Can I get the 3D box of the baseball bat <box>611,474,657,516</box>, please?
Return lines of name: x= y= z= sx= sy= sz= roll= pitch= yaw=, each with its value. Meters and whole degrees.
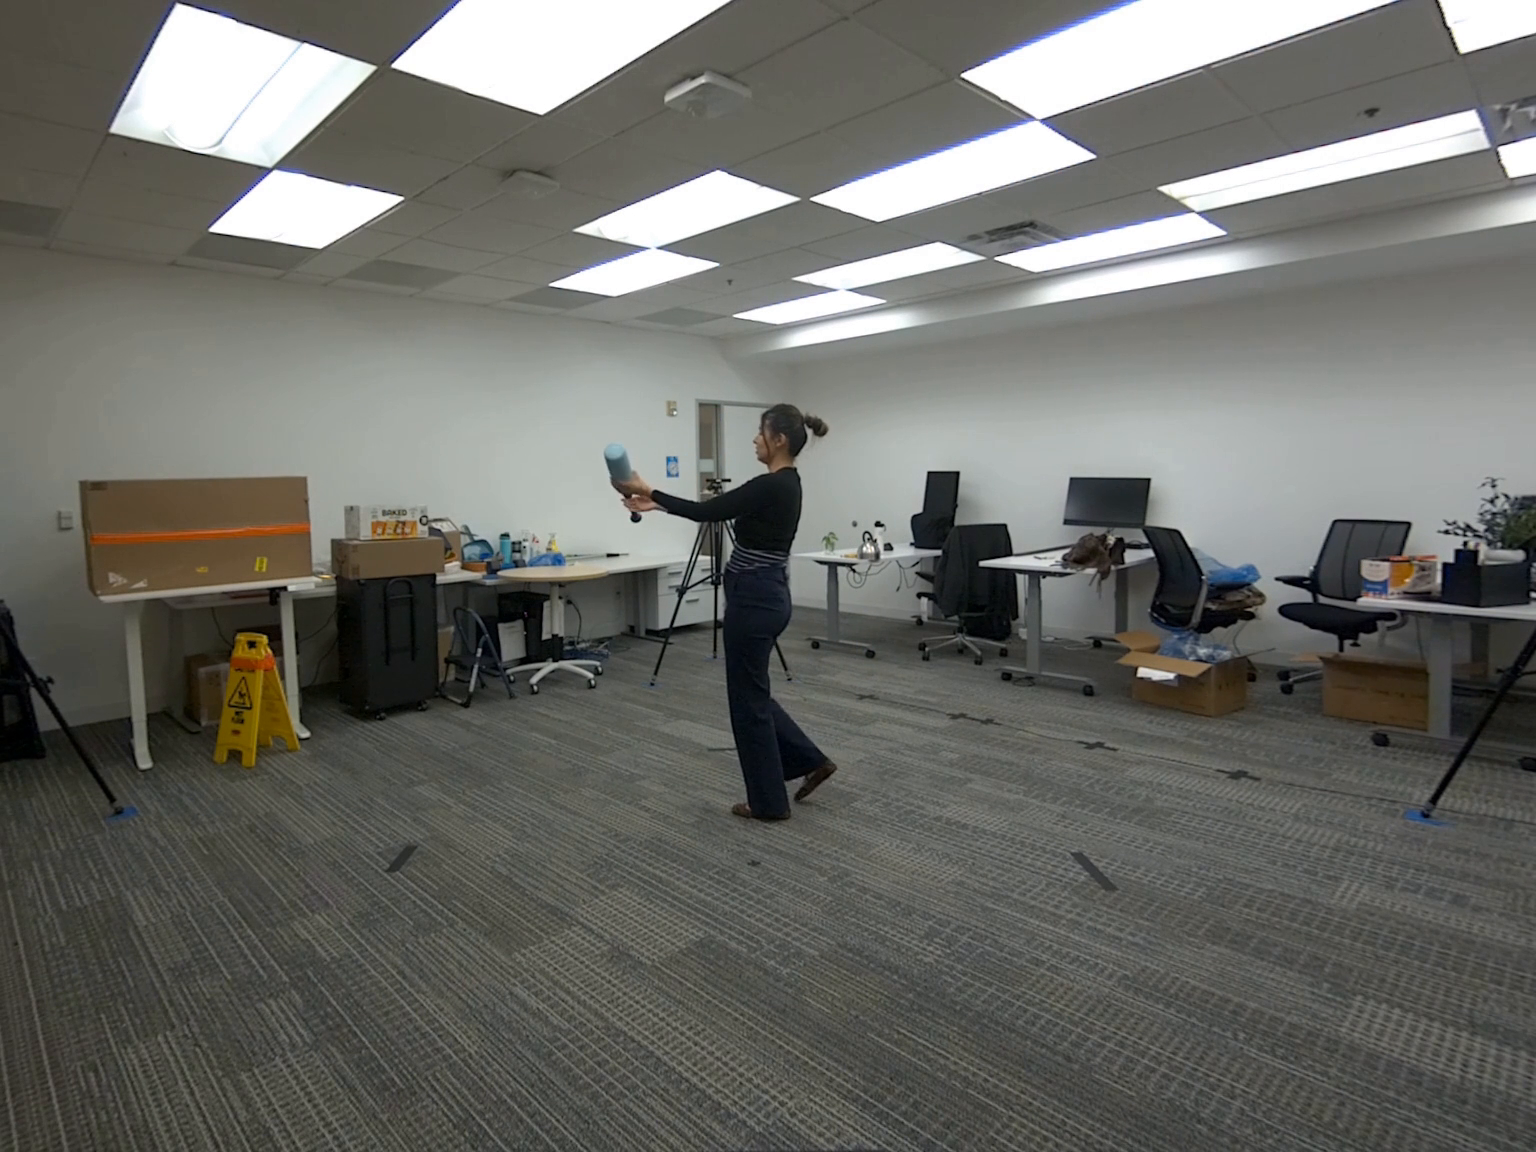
baseball bat: x=-0.589 y=-0.373 z=3.555 sx=0.089 sy=0.091 sz=0.529 roll=0 pitch=-27 yaw=3
